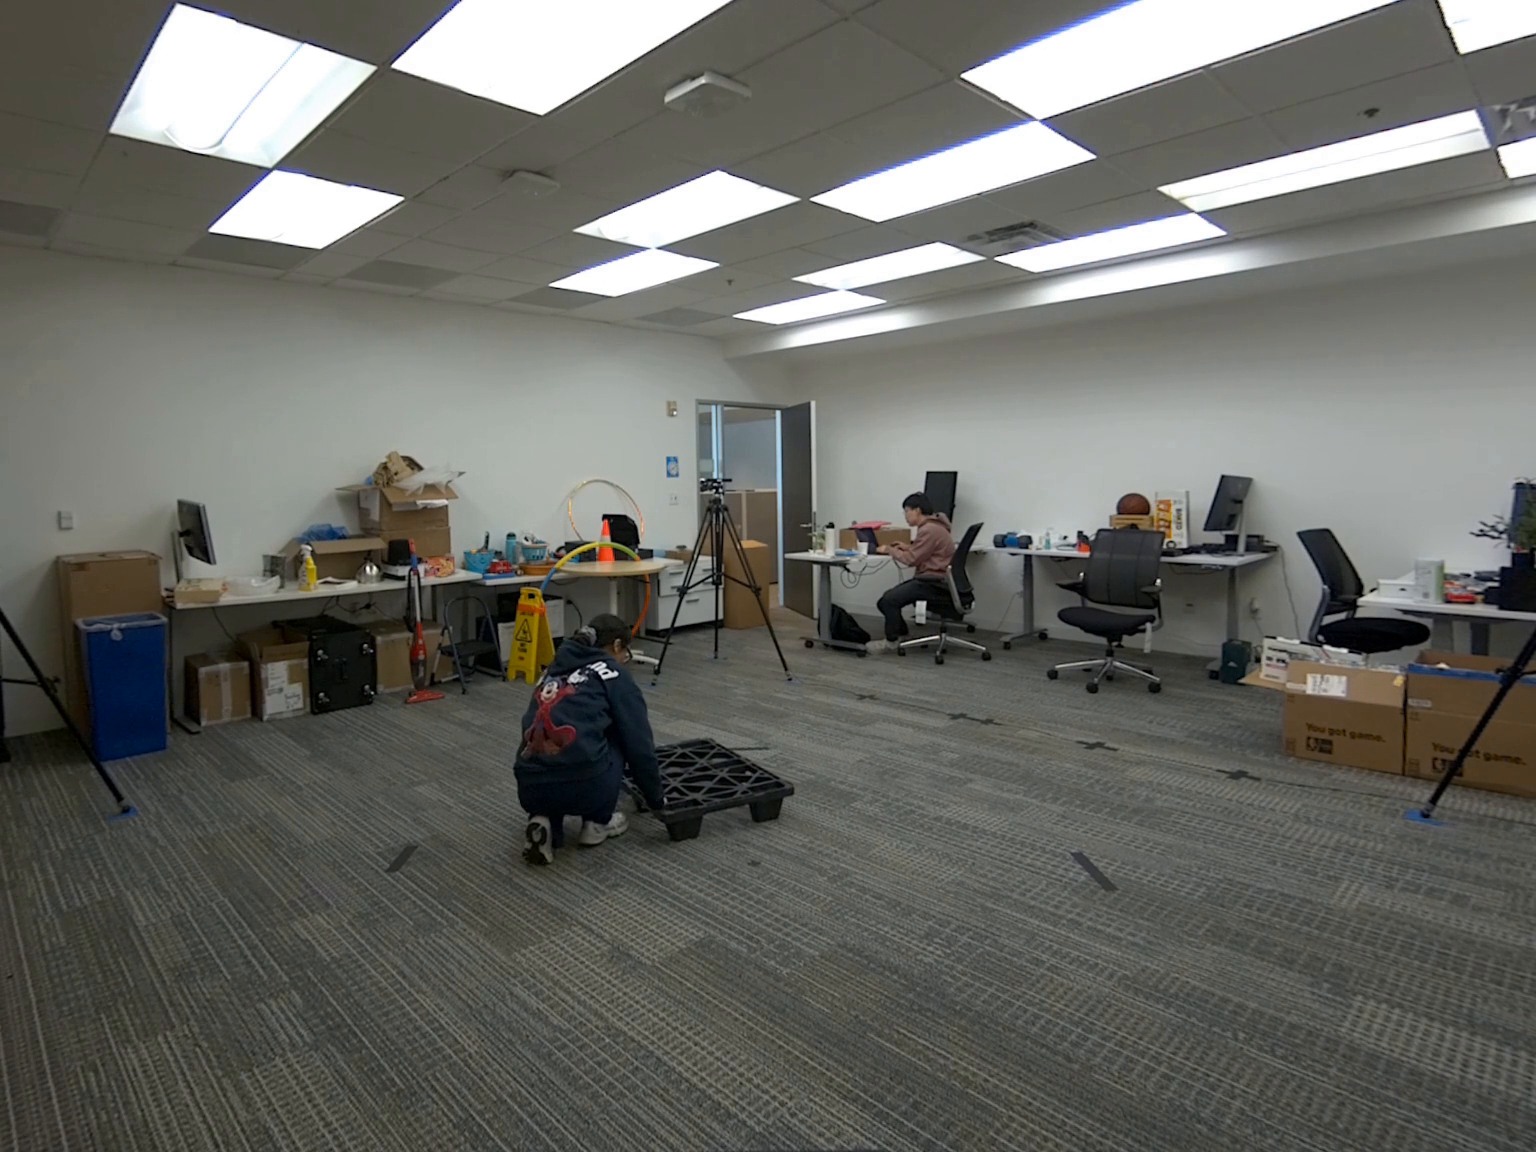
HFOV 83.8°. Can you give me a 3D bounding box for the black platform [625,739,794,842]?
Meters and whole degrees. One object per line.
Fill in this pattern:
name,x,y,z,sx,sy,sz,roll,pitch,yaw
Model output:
black platform,-0.339,0.912,3.719,0.591,0.142,0.828,-5,7,-29
